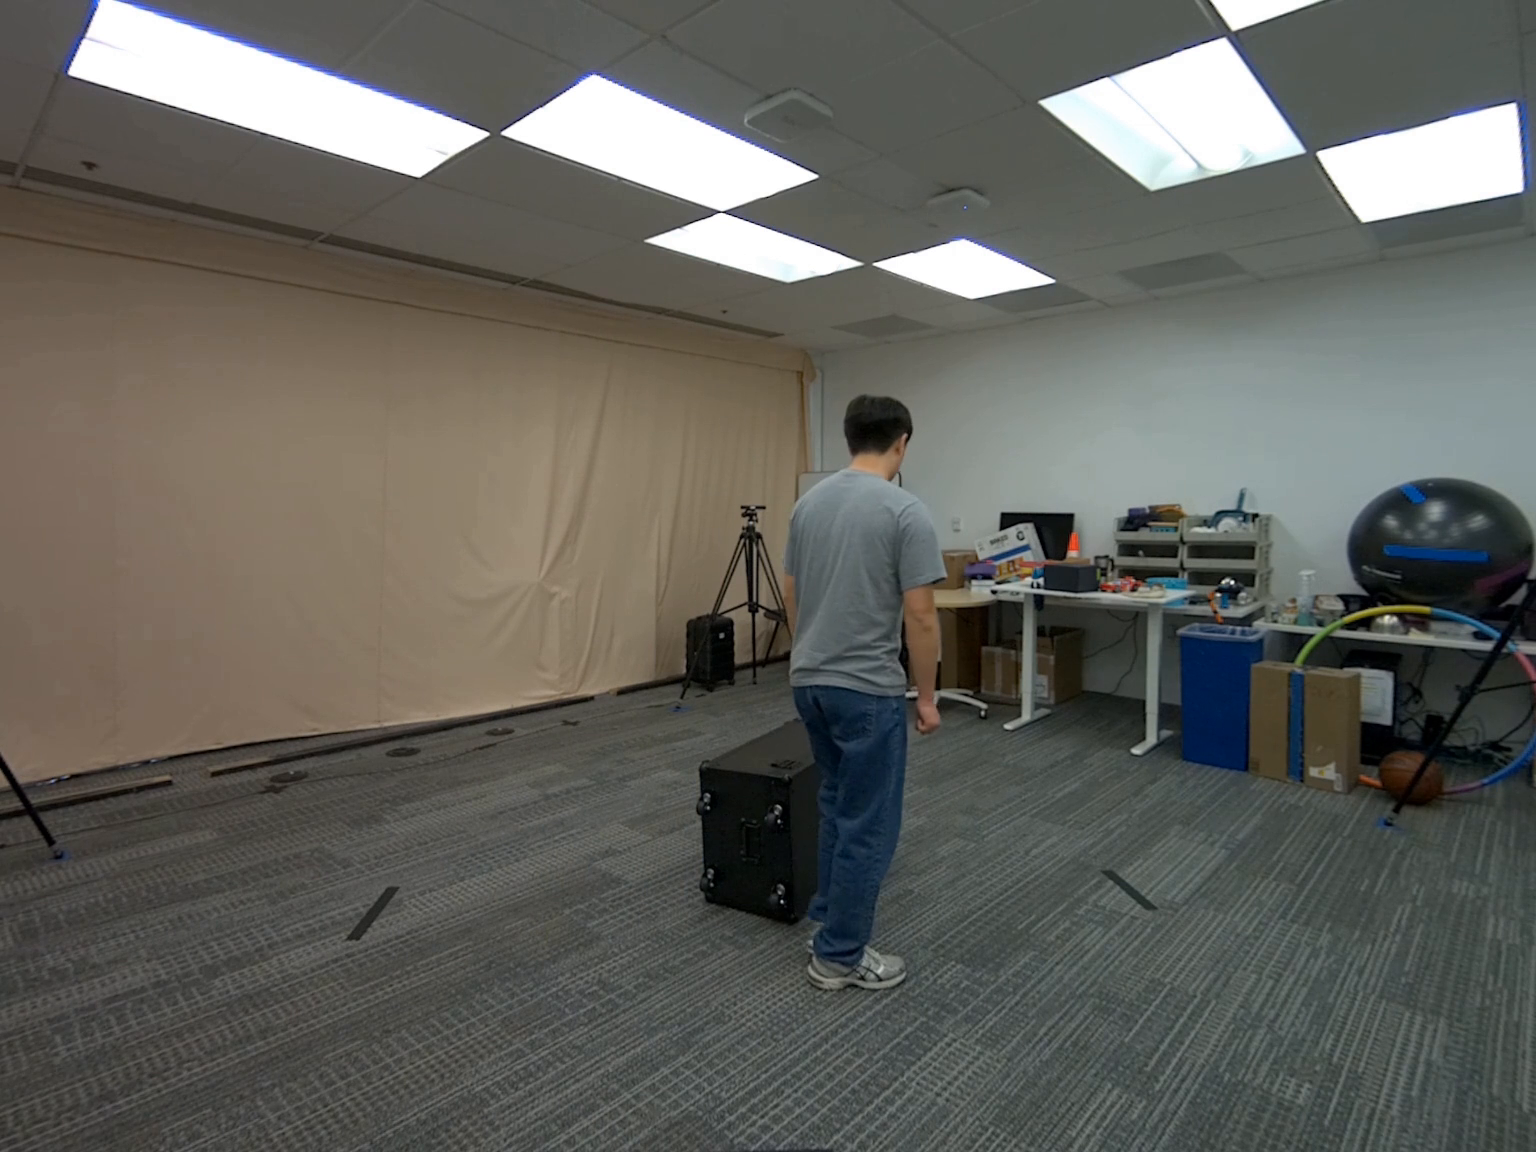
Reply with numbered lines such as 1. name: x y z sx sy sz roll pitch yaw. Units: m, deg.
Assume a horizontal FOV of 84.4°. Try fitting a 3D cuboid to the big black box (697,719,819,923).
1. big black box: 0.083 0.867 3.169 0.407 0.520 0.839 -1 4 29
